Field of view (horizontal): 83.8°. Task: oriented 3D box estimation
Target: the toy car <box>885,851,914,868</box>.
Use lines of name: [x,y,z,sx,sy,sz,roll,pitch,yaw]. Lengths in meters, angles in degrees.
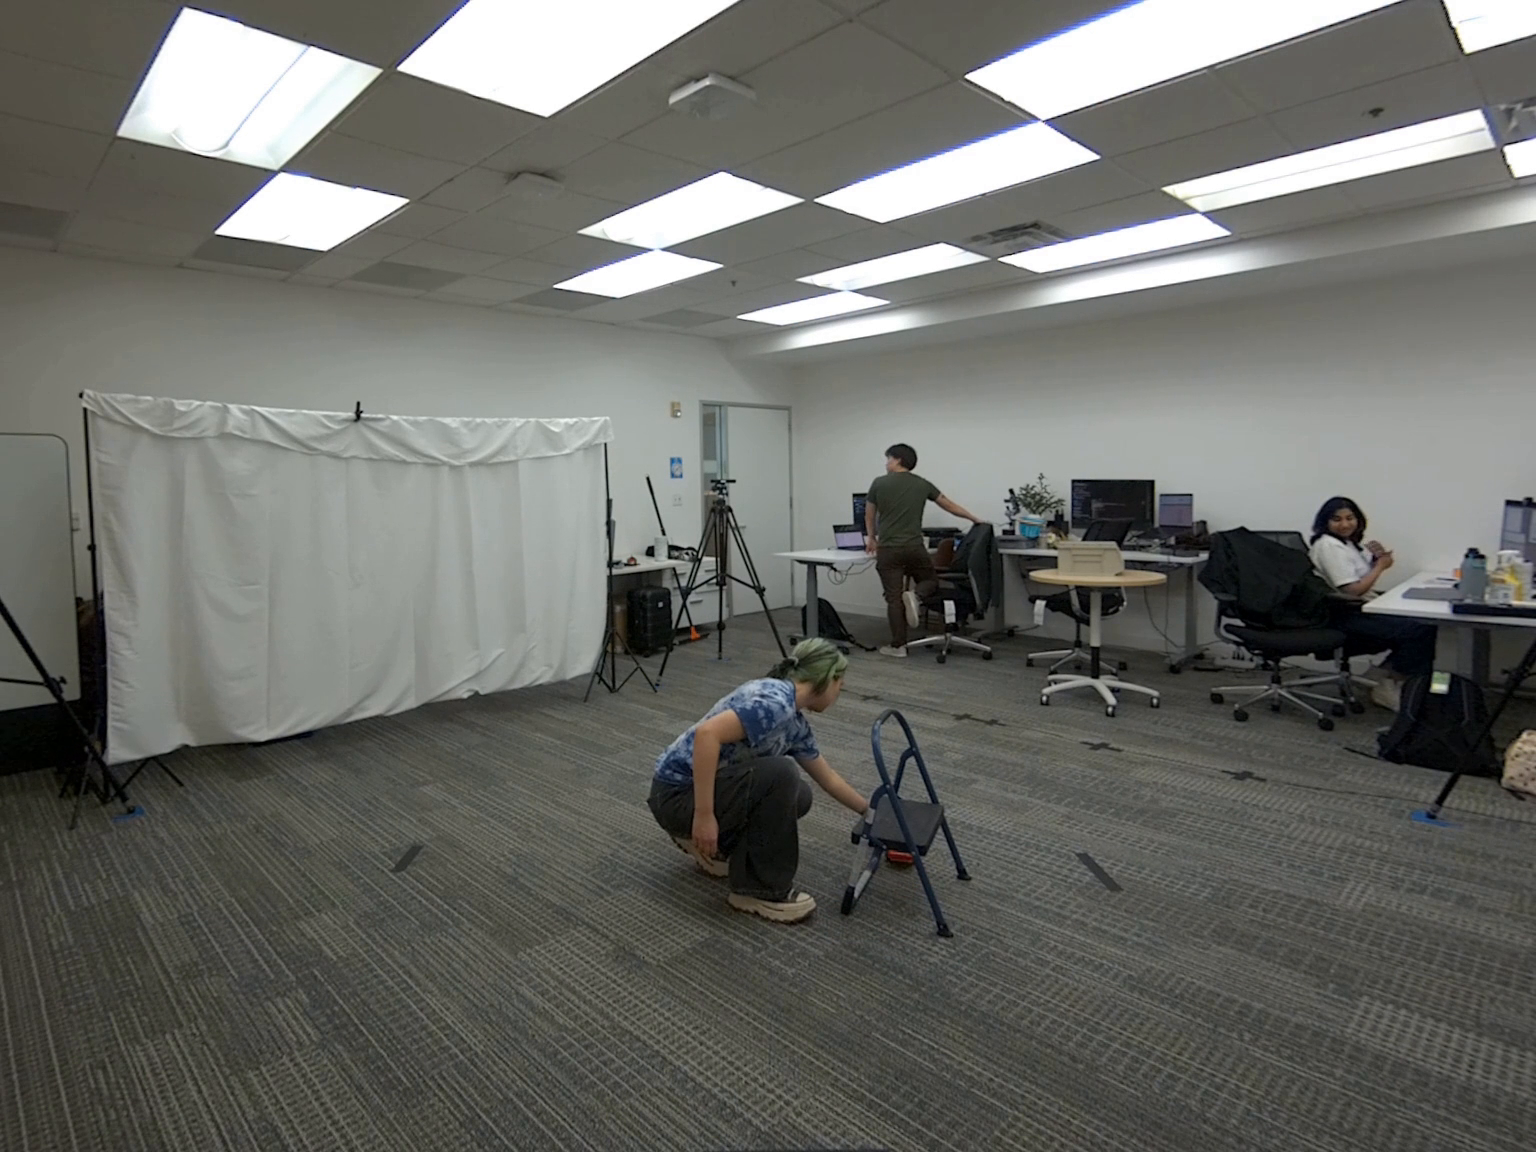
toy car: [0.508,1.002,3.151,0.132,0.083,0.249,2,-5,14]
